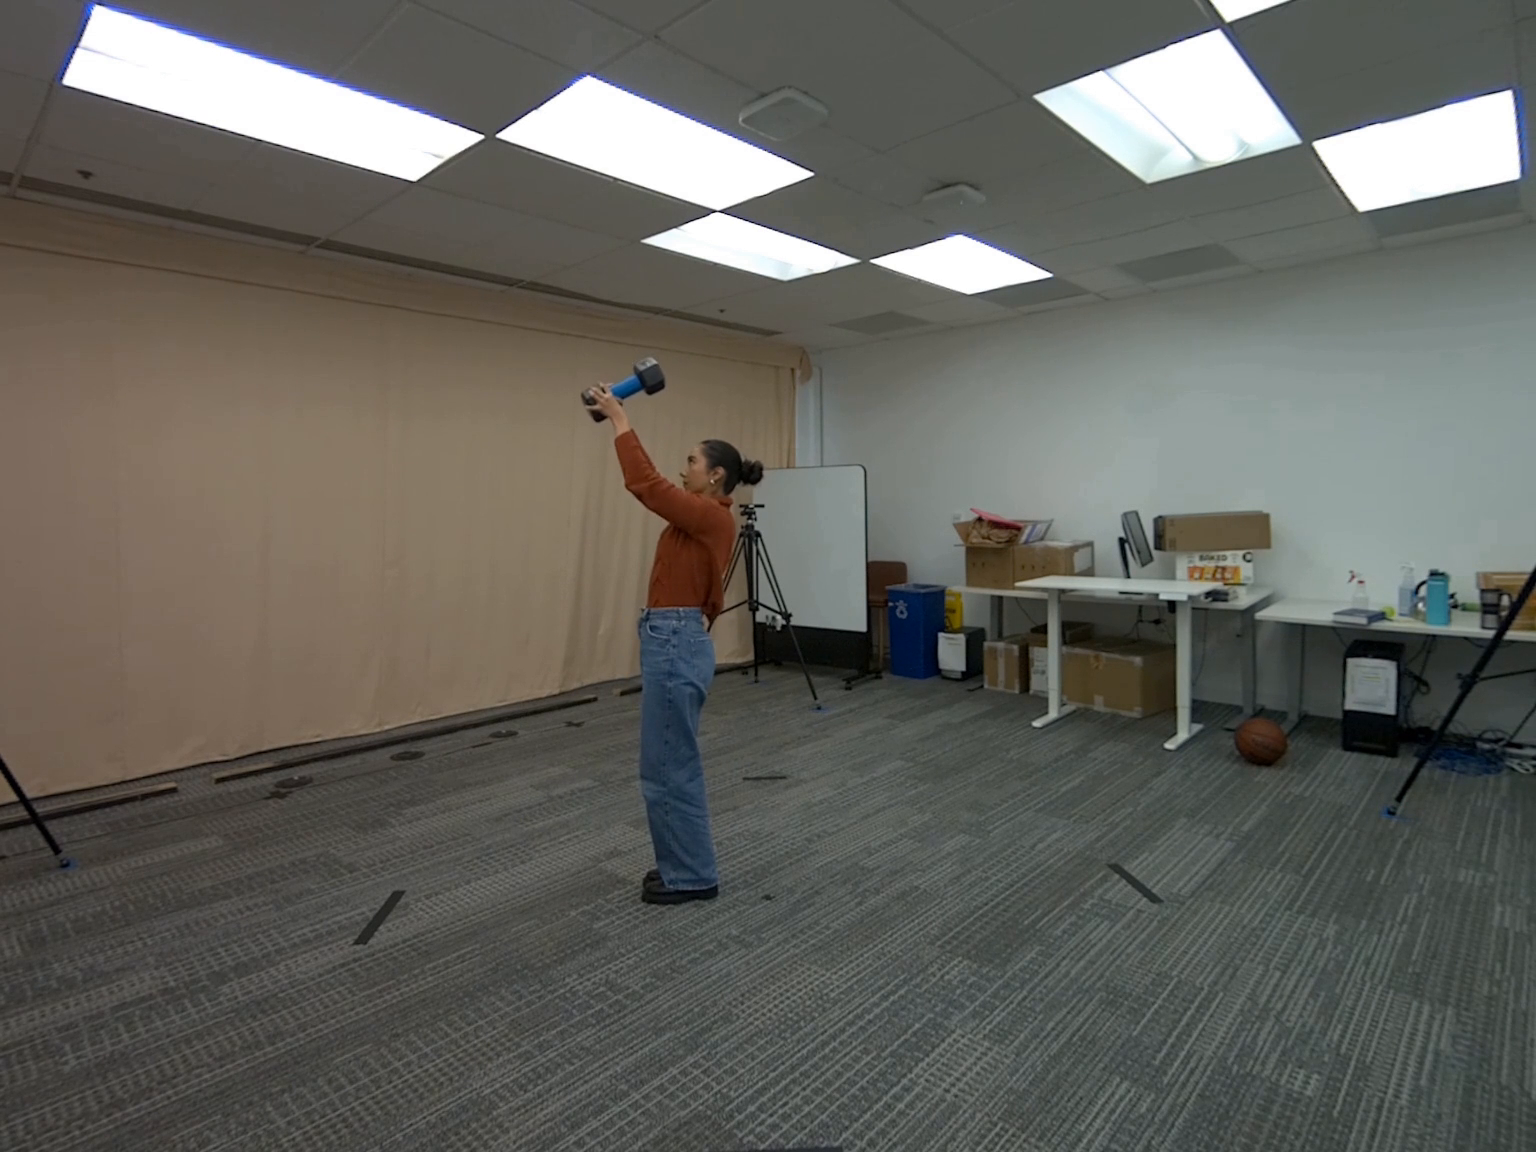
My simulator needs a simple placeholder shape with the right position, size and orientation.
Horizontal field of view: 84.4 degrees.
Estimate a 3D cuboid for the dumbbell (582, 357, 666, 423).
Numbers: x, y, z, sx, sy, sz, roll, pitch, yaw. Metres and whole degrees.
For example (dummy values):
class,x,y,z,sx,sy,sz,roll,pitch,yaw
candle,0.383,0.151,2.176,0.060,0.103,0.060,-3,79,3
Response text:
class,x,y,z,sx,sy,sz,roll,pitch,yaw
dumbbell,-0.506,-0.655,2.978,0.292,0.121,0.111,-30,12,-10
